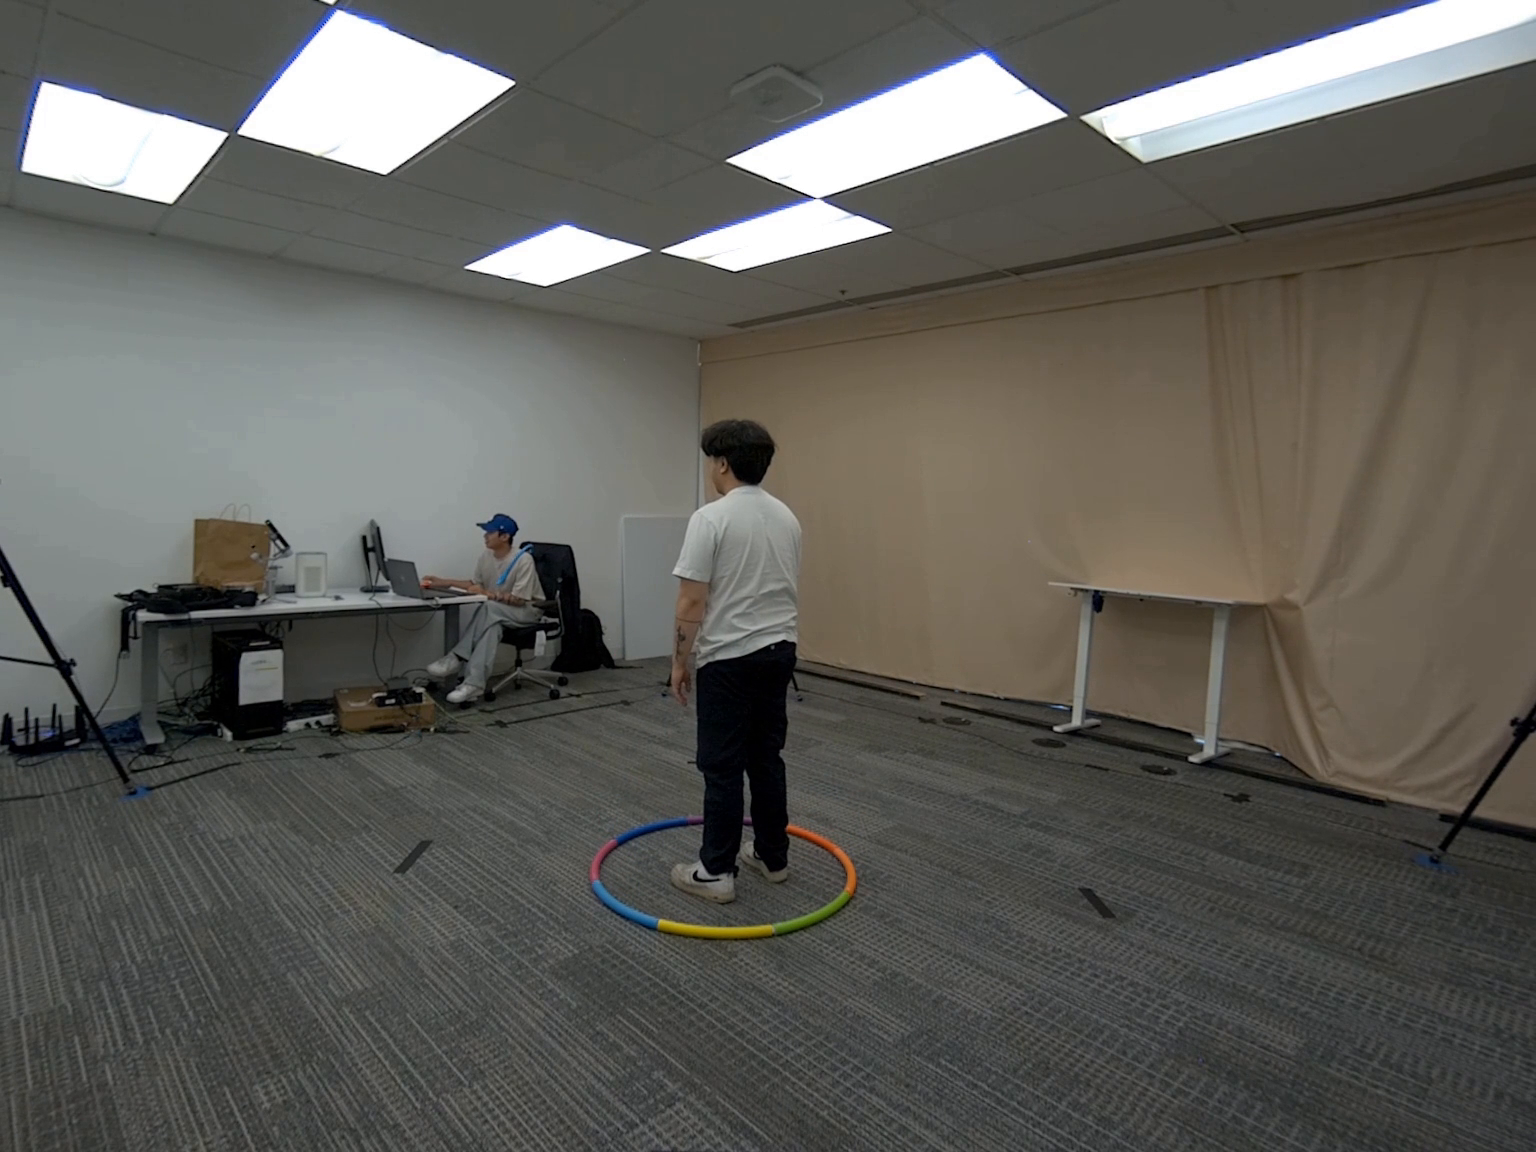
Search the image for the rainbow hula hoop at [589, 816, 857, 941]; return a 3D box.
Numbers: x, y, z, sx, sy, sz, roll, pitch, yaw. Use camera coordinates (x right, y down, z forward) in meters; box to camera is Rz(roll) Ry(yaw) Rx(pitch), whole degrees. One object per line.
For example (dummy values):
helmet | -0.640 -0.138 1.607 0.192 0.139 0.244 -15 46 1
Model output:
rainbow hula hoop | -0.170 1.078 3.136 0.985 0.051 0.989 1 5 -1
